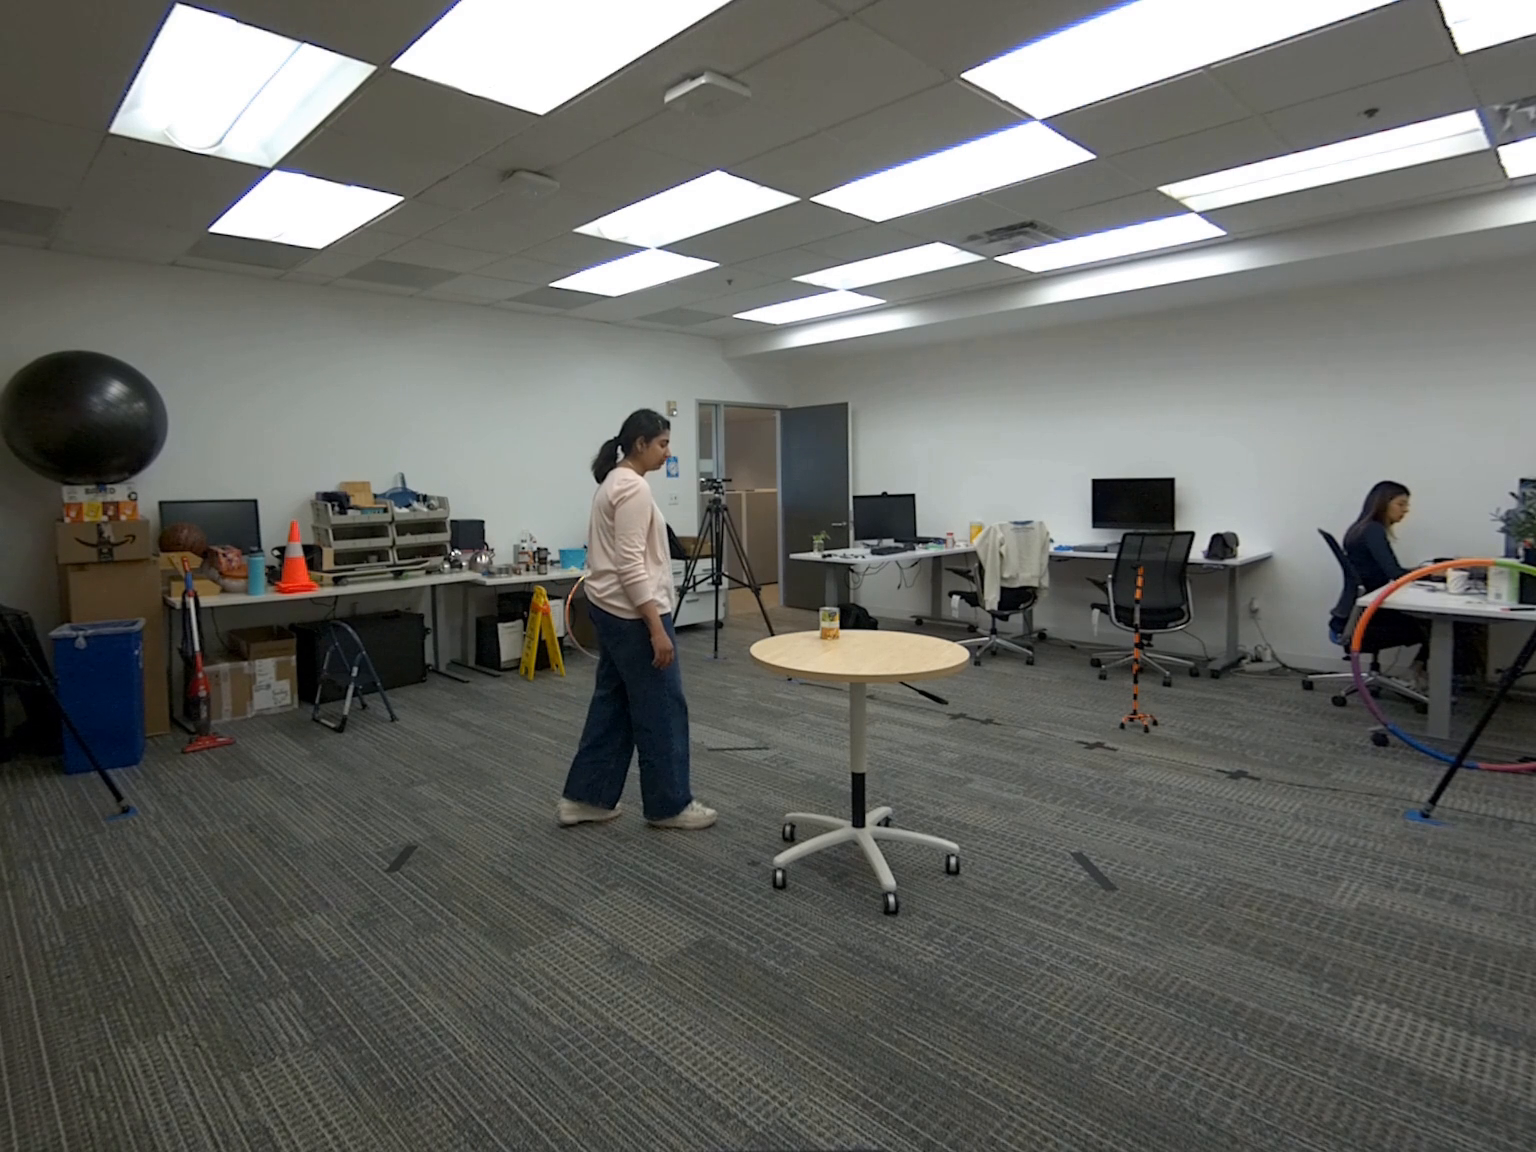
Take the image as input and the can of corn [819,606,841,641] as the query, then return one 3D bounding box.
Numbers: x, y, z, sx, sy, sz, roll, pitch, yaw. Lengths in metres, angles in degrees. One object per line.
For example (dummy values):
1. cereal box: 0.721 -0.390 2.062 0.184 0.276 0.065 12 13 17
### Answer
1. can of corn: 0.230 0.178 3.249 0.074 0.111 0.074 -2 1 -2
